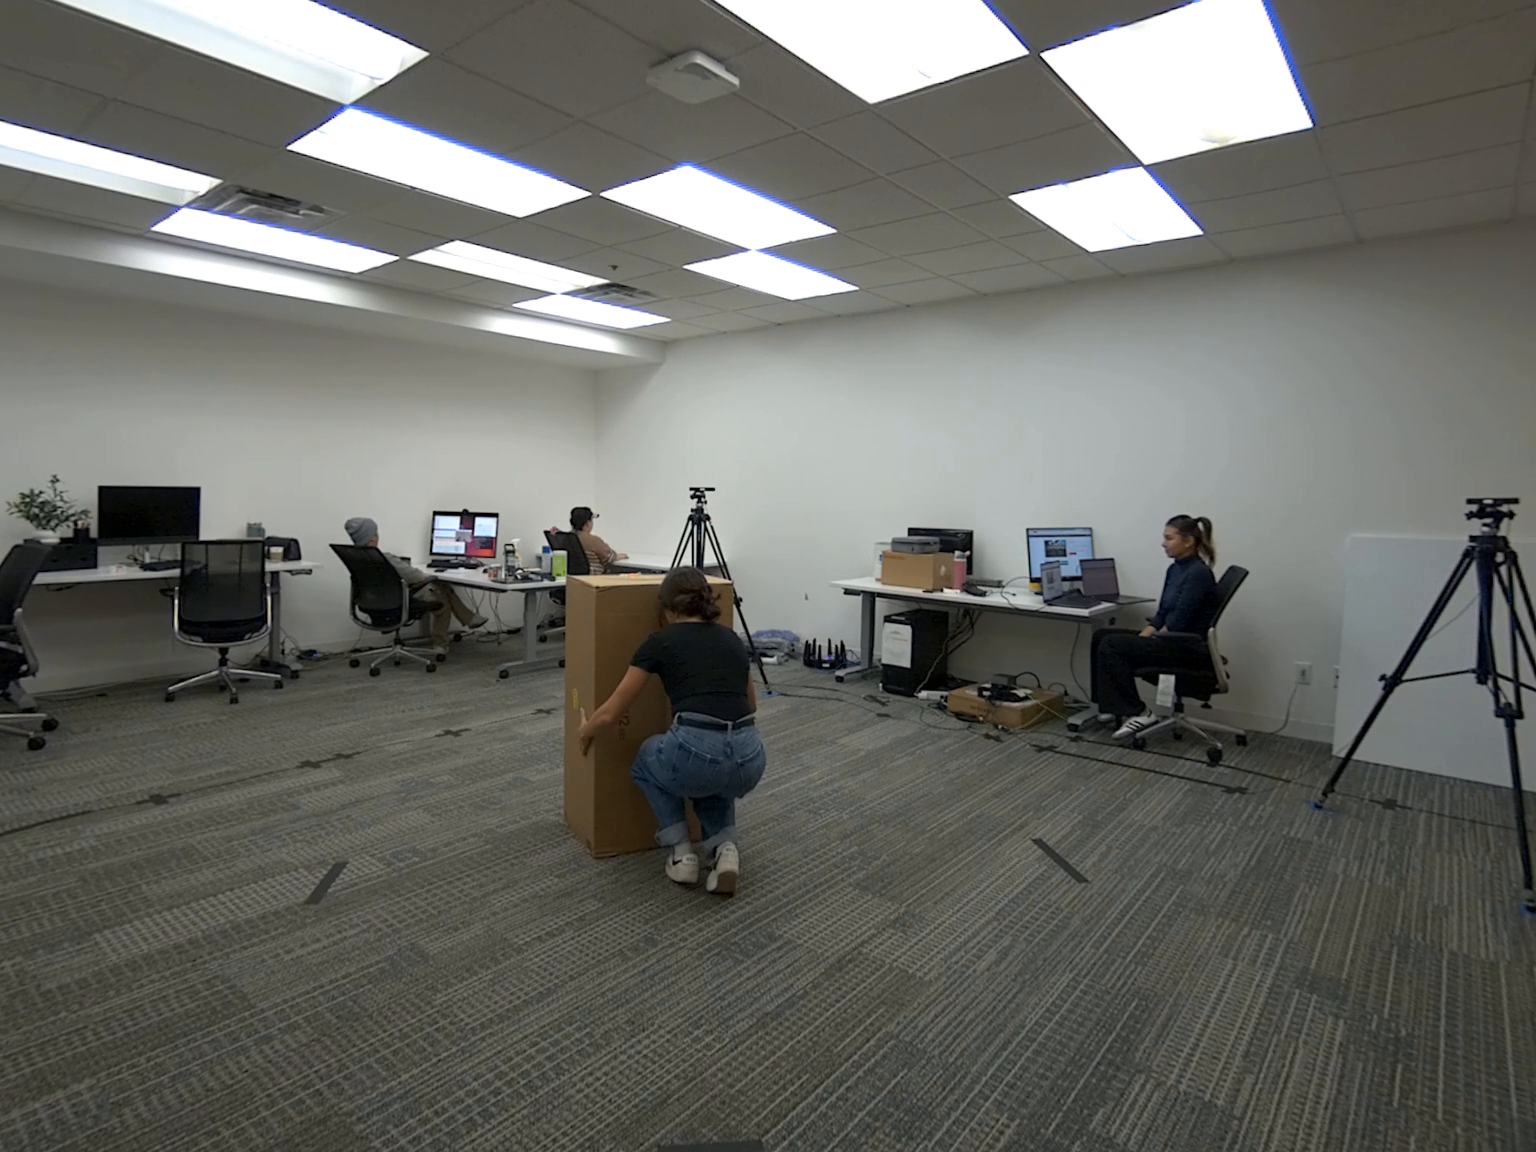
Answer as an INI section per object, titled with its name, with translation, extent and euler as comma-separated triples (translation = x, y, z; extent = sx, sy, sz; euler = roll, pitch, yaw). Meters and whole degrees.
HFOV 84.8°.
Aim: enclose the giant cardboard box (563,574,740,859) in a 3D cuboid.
[giant cardboard box]
translation = -0.510, 0.515, 3.460
extent = 0.563, 1.023, 0.438
euler = -1, 3, -27
